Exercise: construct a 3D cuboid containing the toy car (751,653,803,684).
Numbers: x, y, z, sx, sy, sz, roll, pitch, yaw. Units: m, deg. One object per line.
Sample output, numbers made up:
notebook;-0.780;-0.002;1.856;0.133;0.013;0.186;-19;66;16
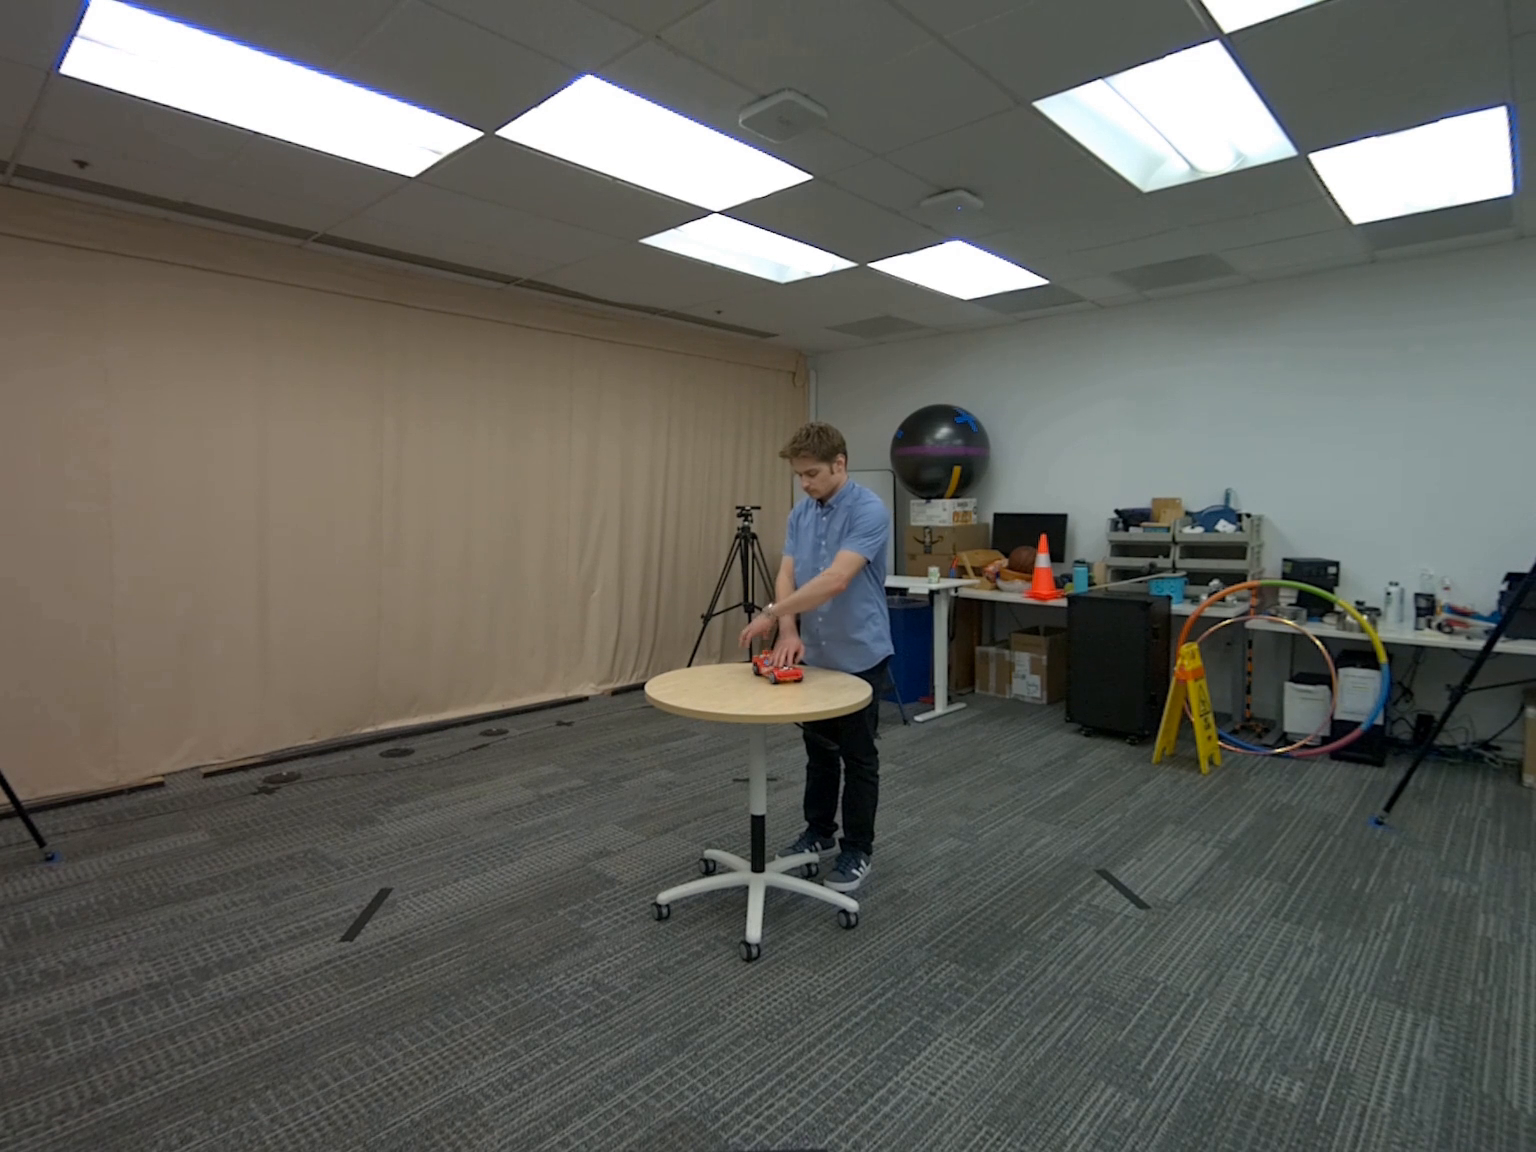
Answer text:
toy car;0.025;0.330;2.977;0.127;0.082;0.262;-2;17;-21
